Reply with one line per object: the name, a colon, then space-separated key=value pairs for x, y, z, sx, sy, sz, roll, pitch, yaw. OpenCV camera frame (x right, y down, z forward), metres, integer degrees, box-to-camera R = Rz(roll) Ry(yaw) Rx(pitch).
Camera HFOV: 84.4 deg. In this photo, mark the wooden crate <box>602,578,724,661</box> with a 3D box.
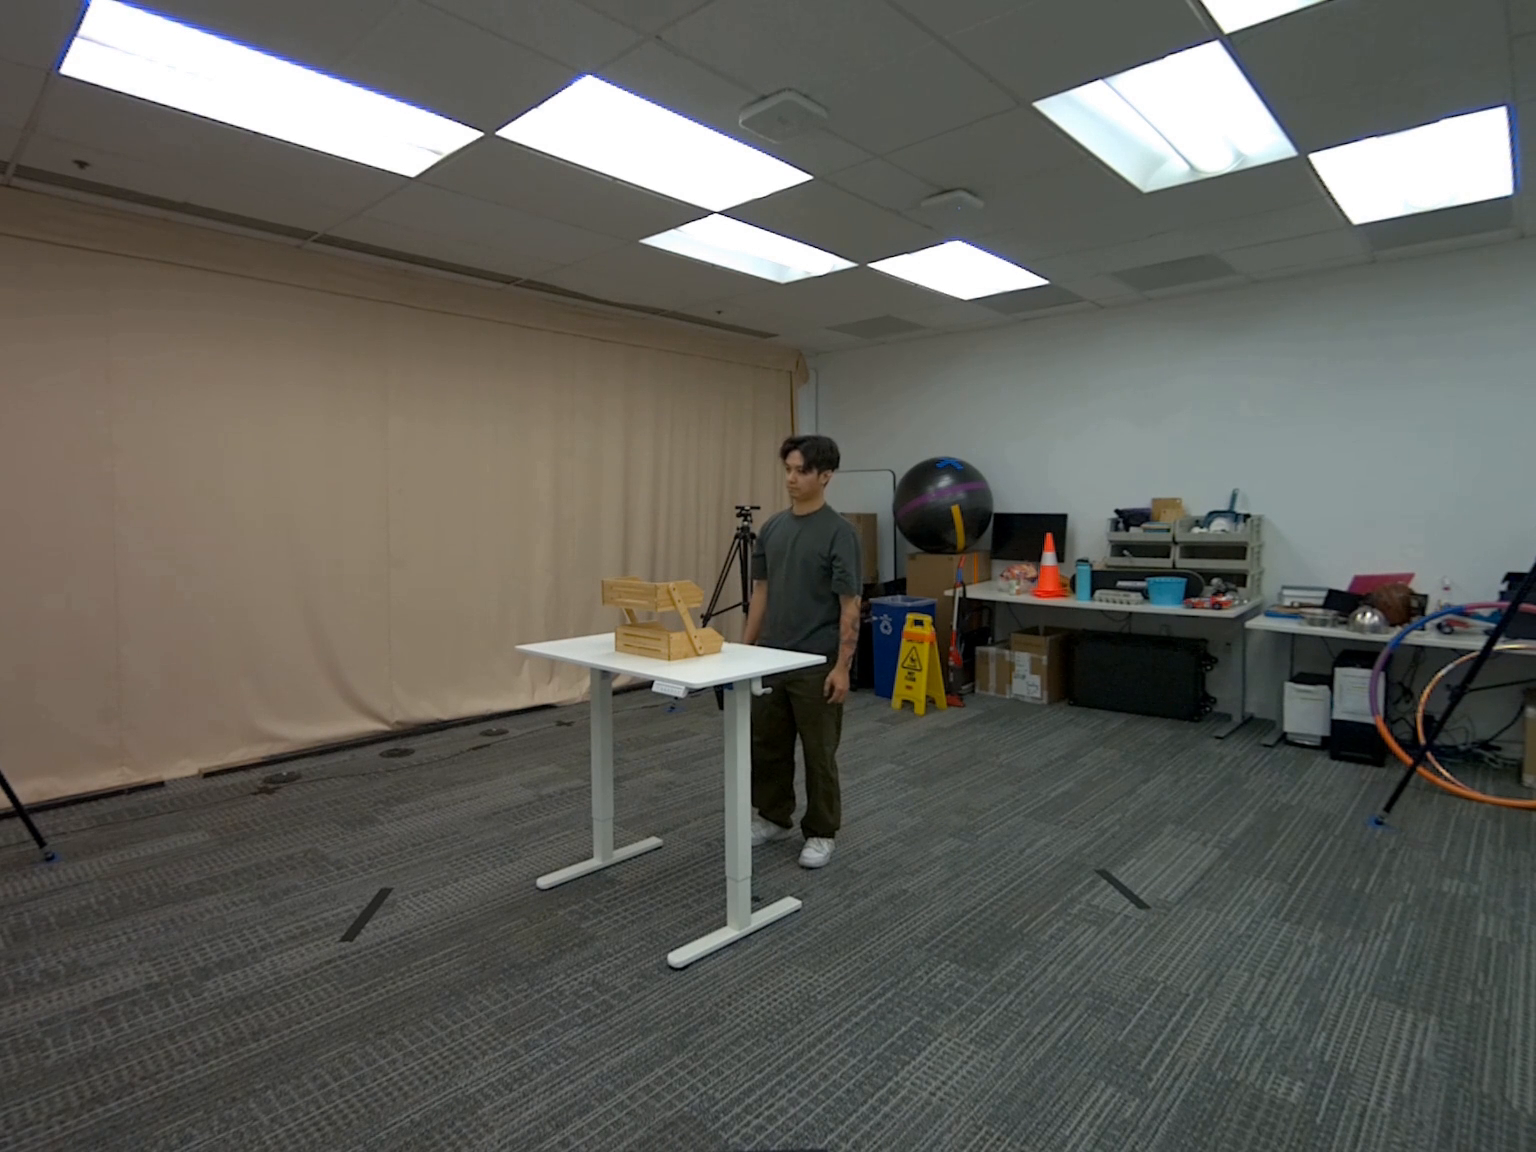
wooden crate: x=-0.365 y=0.137 z=2.946 sx=0.335 sy=0.273 sz=0.293 roll=2 pitch=5 yaw=44
